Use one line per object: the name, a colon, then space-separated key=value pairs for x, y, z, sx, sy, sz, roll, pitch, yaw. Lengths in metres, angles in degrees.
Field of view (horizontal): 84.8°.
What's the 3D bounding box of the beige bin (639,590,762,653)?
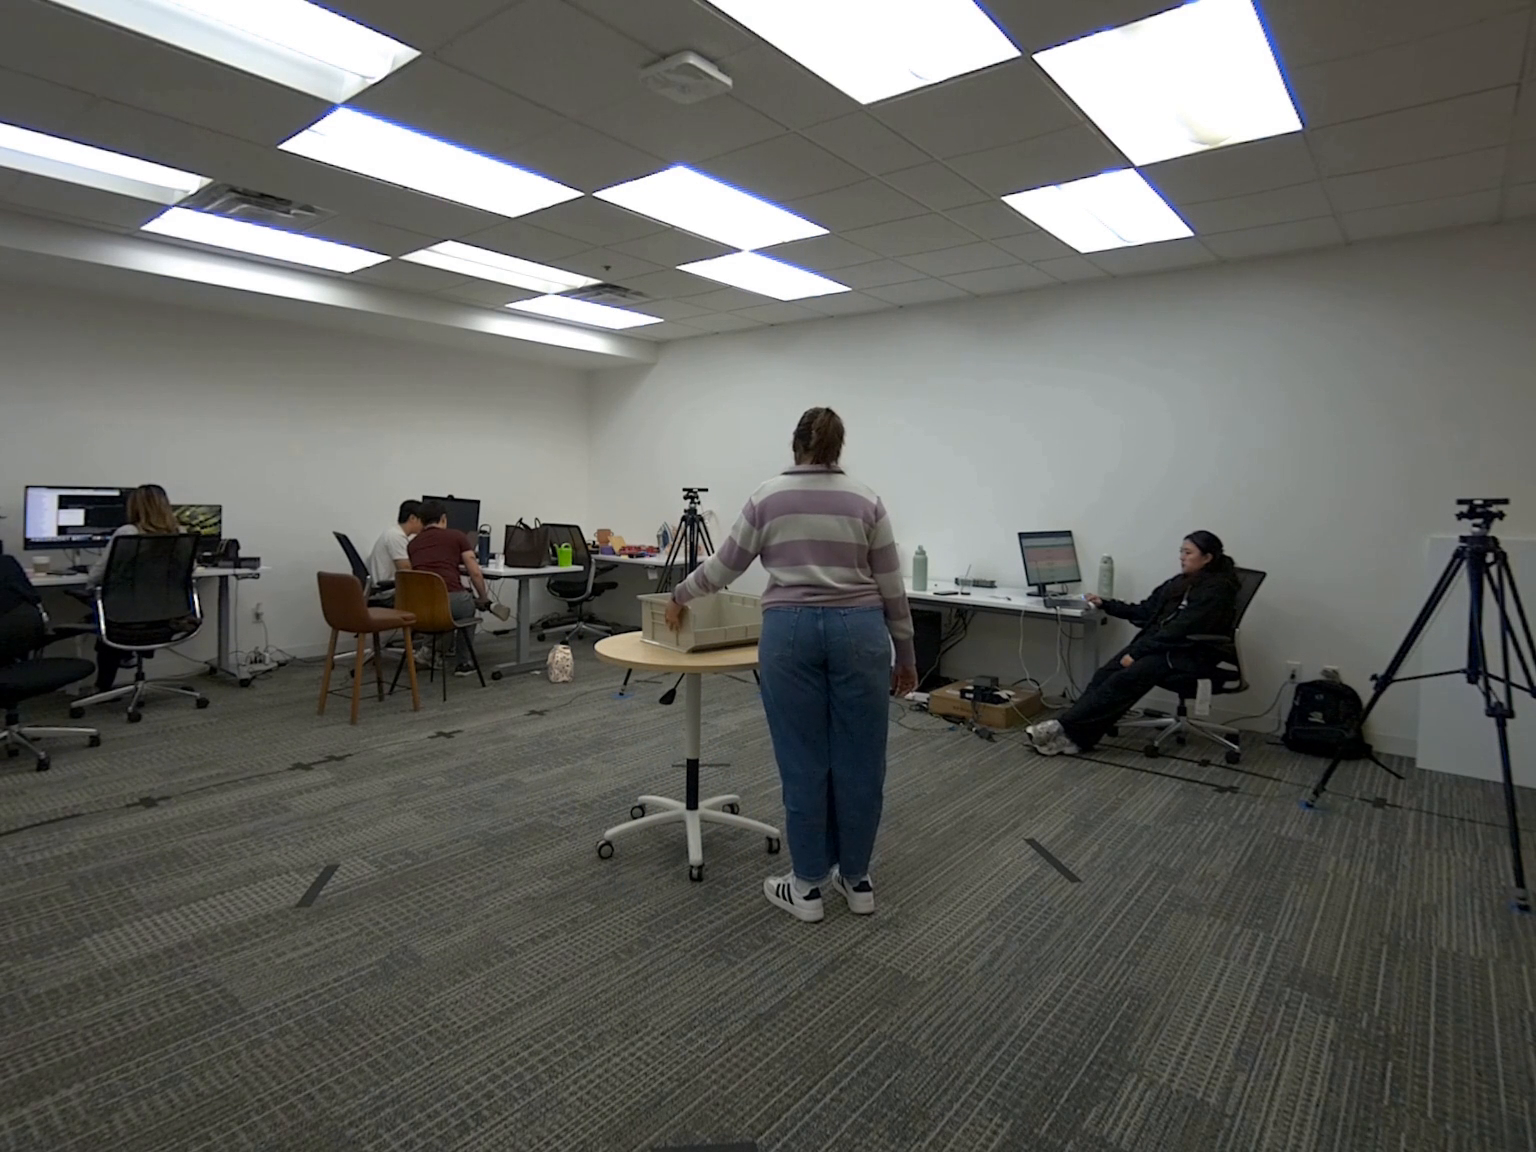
beige bin: x=-0.249 y=0.171 z=3.365 sx=0.410 sy=0.188 sz=0.390 roll=-3 pitch=5 yaw=-39
